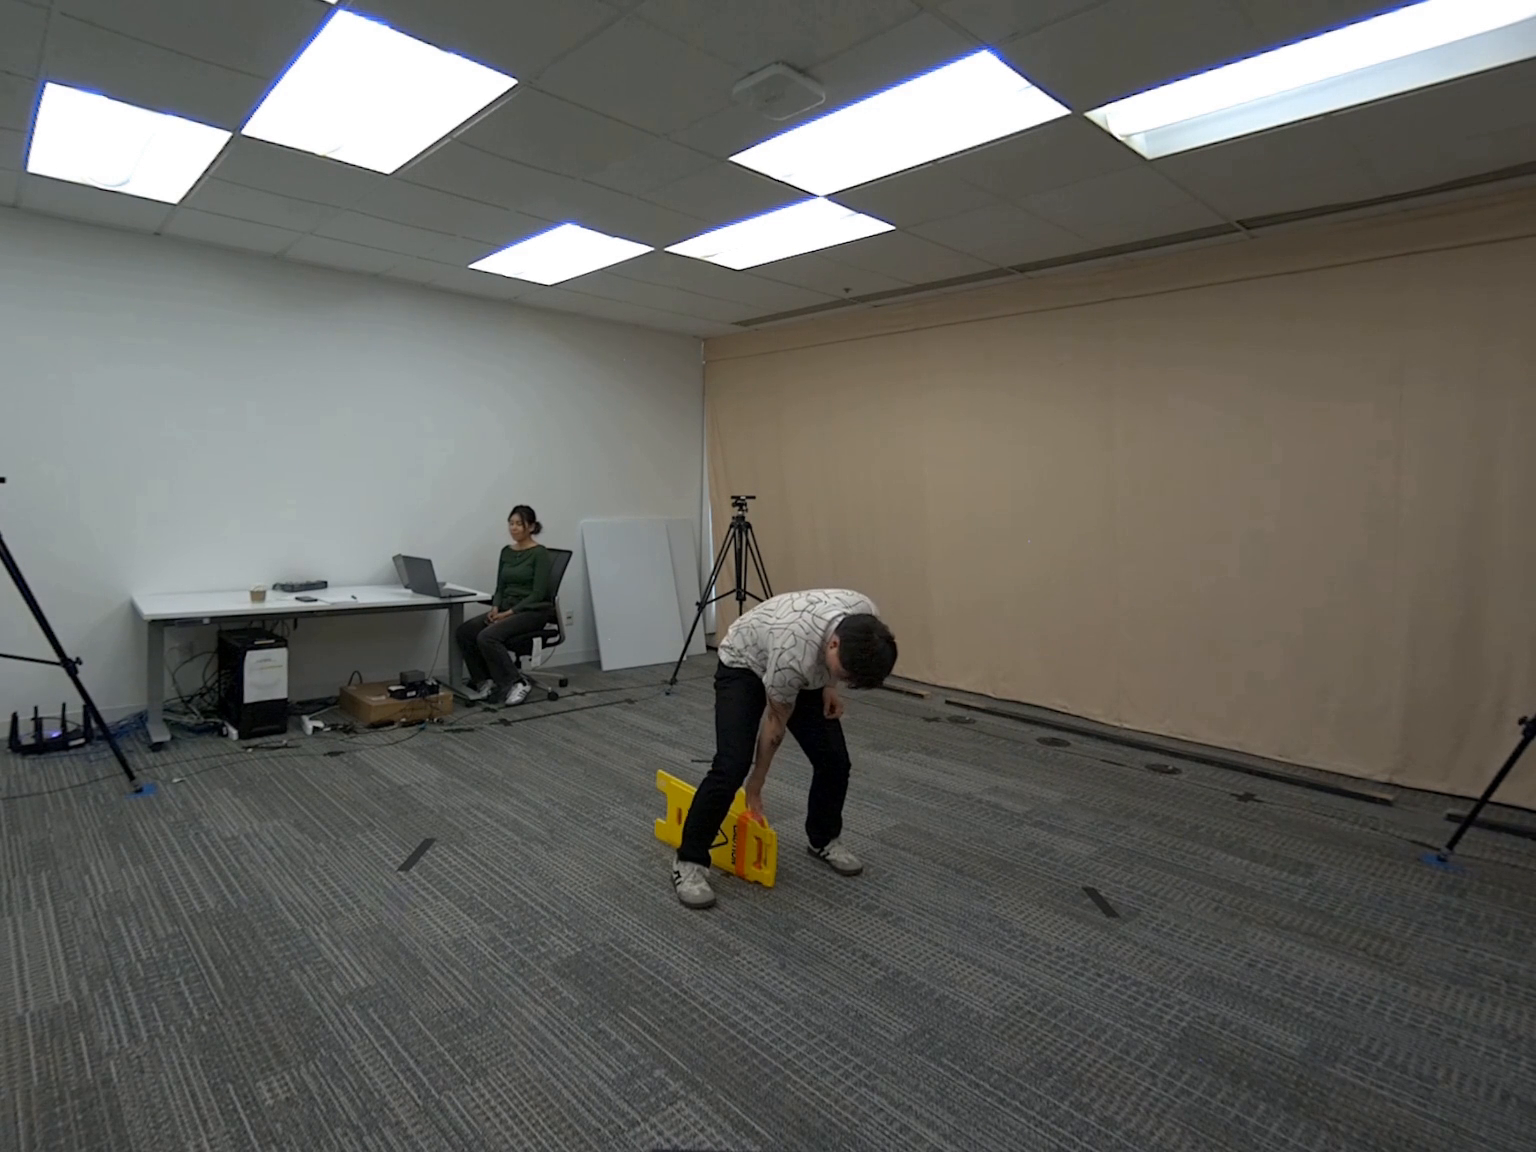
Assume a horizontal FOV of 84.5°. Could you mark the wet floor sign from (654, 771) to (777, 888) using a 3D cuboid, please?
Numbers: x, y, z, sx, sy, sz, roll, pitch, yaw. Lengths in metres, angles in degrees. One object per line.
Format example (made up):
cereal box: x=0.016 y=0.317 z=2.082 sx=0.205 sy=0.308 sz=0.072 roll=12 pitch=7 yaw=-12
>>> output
wet floor sign: x=-0.165 y=0.962 z=3.230 sx=0.283 sy=0.281 sz=0.662 roll=-1 pitch=7 yaw=-33
